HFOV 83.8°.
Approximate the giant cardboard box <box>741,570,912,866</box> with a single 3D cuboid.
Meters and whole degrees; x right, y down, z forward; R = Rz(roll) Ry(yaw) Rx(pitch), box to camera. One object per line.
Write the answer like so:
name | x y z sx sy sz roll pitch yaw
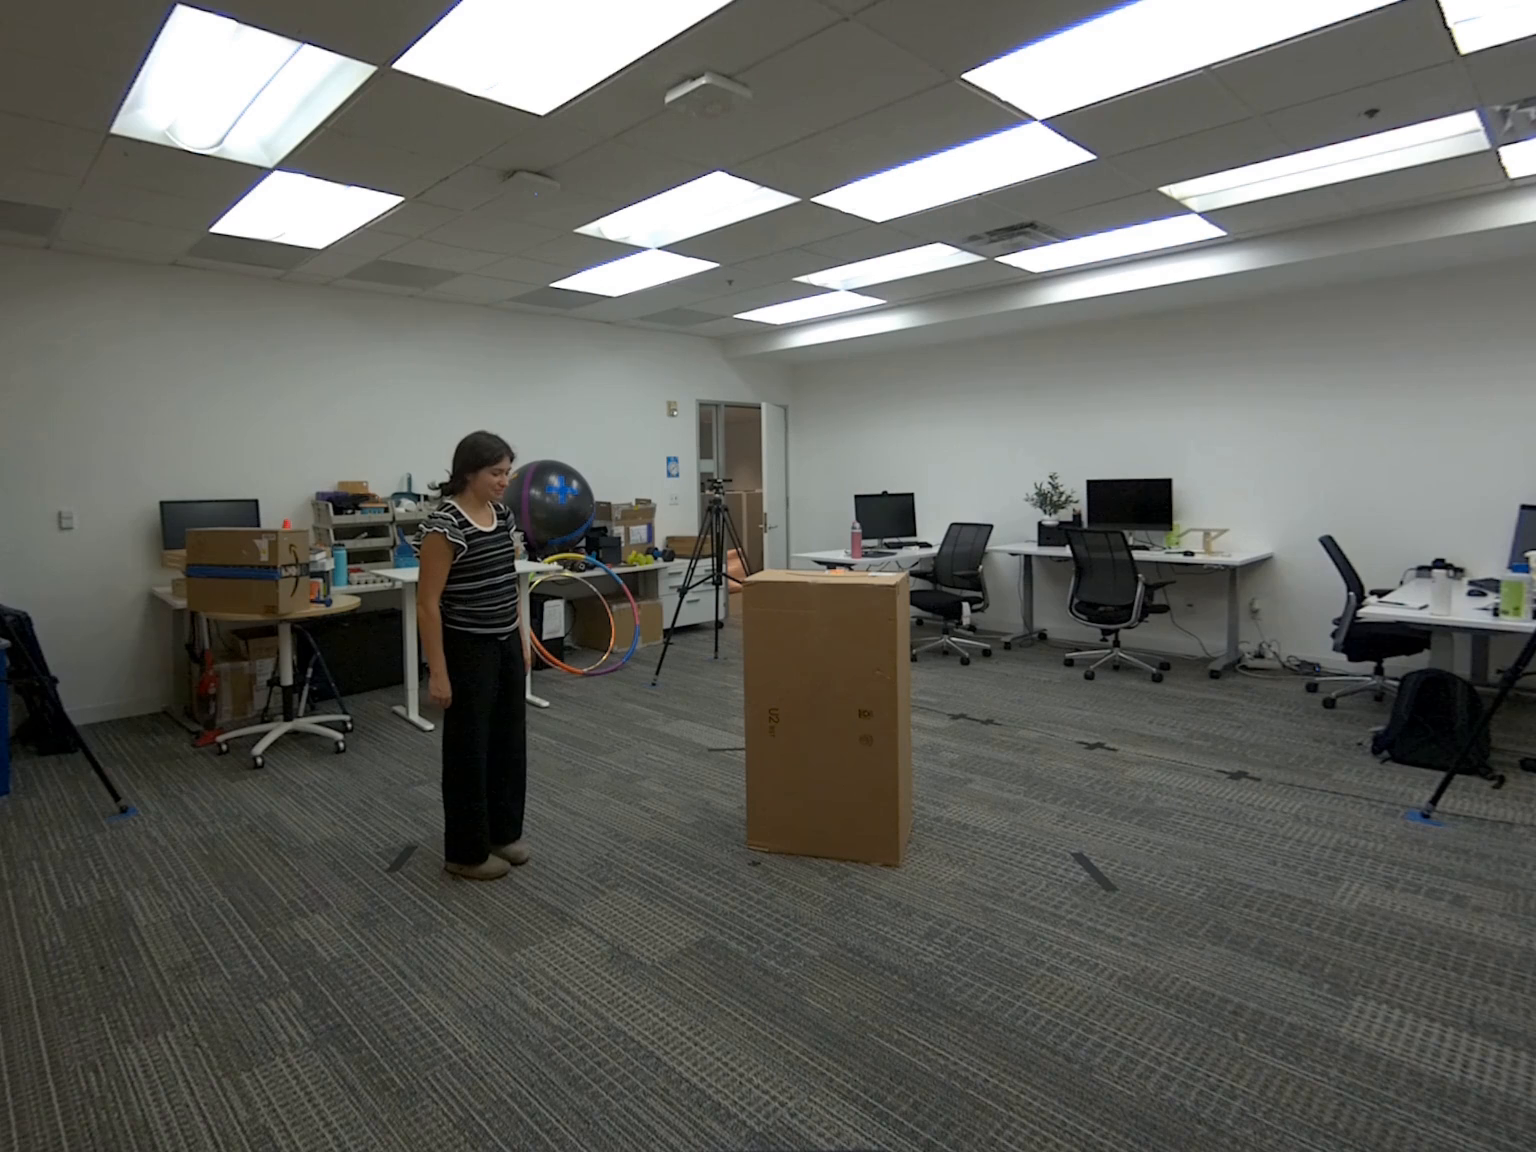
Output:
giant cardboard box | 0.239 0.507 3.313 0.587 1.022 0.420 0 4 17
